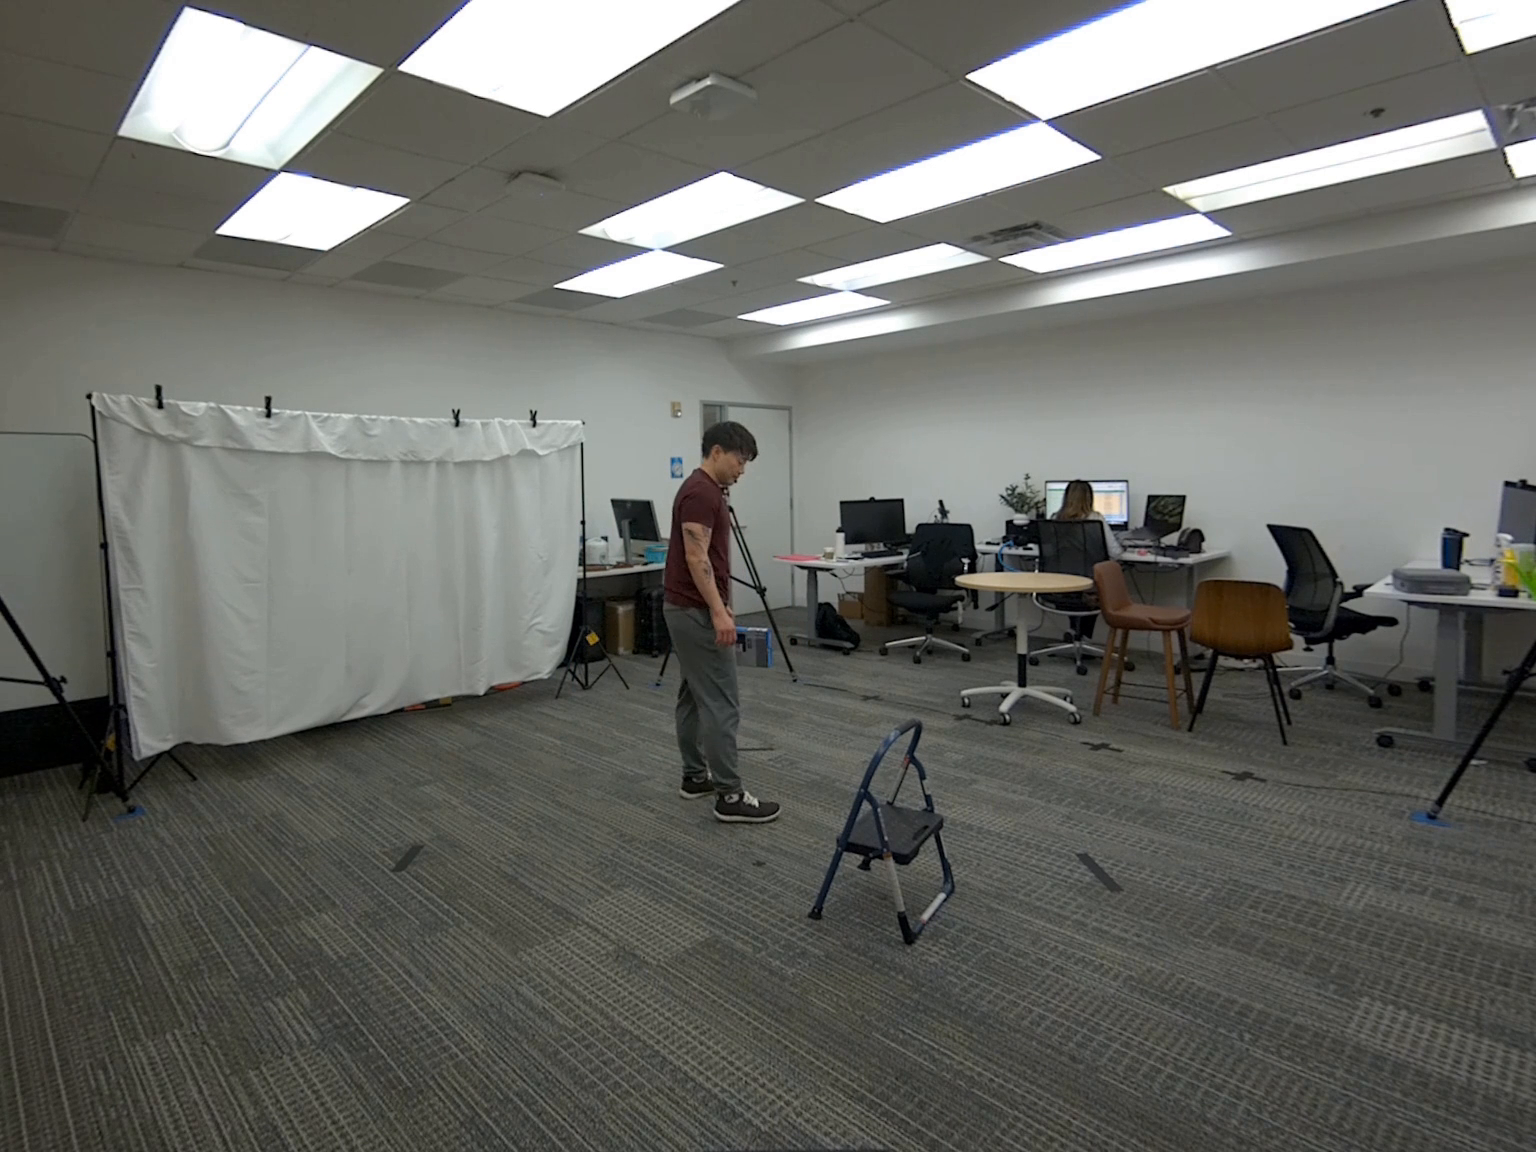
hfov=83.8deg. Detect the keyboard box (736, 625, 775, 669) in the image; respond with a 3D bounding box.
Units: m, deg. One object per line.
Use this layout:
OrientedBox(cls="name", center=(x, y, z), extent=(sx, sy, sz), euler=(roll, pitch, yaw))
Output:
OrientedBox(cls="keyboard box", center=(-0.197, 0.324, 3.968), extent=(0.445, 0.174, 0.058), euler=(3, 10, 20))
